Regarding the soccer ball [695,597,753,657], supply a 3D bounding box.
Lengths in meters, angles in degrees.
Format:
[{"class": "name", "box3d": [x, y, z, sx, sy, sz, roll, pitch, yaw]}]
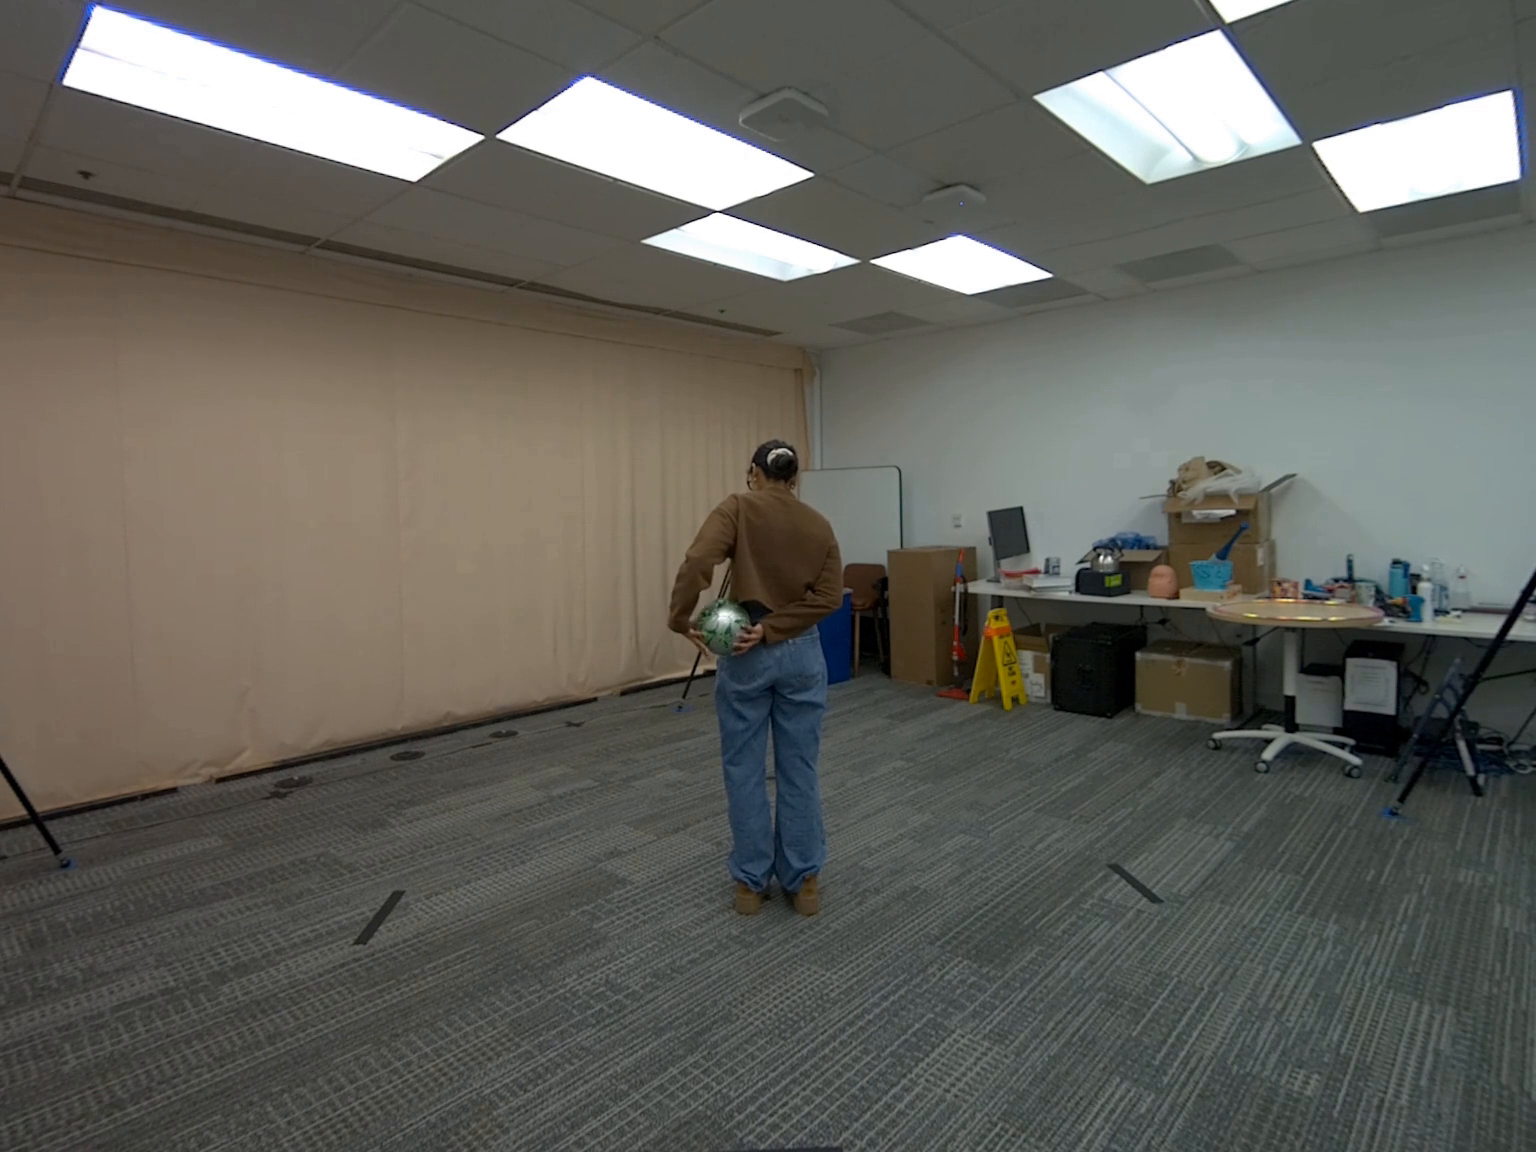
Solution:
[{"class": "soccer ball", "box3d": [-0.144, 0.173, 2.789, 0.187, 0.187, 0.188, -1, 4, -2]}]
